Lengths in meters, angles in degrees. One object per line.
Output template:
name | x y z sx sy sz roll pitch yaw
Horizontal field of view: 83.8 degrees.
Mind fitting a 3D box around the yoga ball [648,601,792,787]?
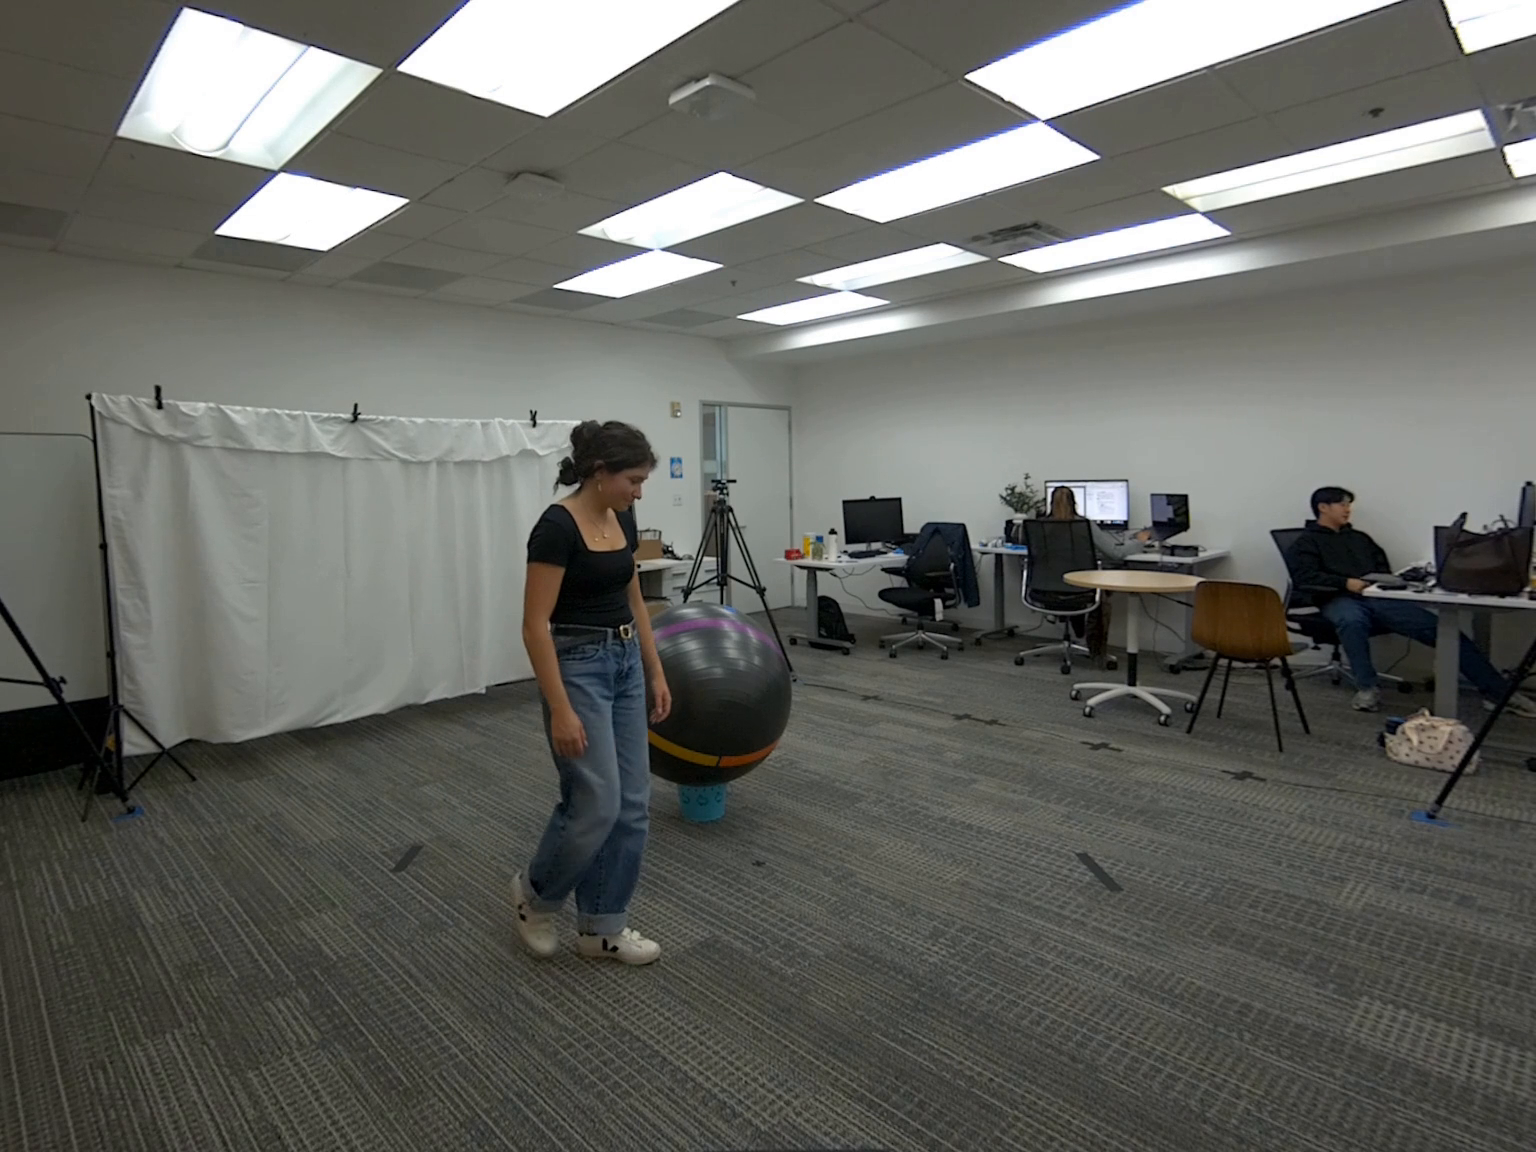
yoga ball | -0.286 0.499 3.580 0.757 0.755 0.762 -1 5 -2
